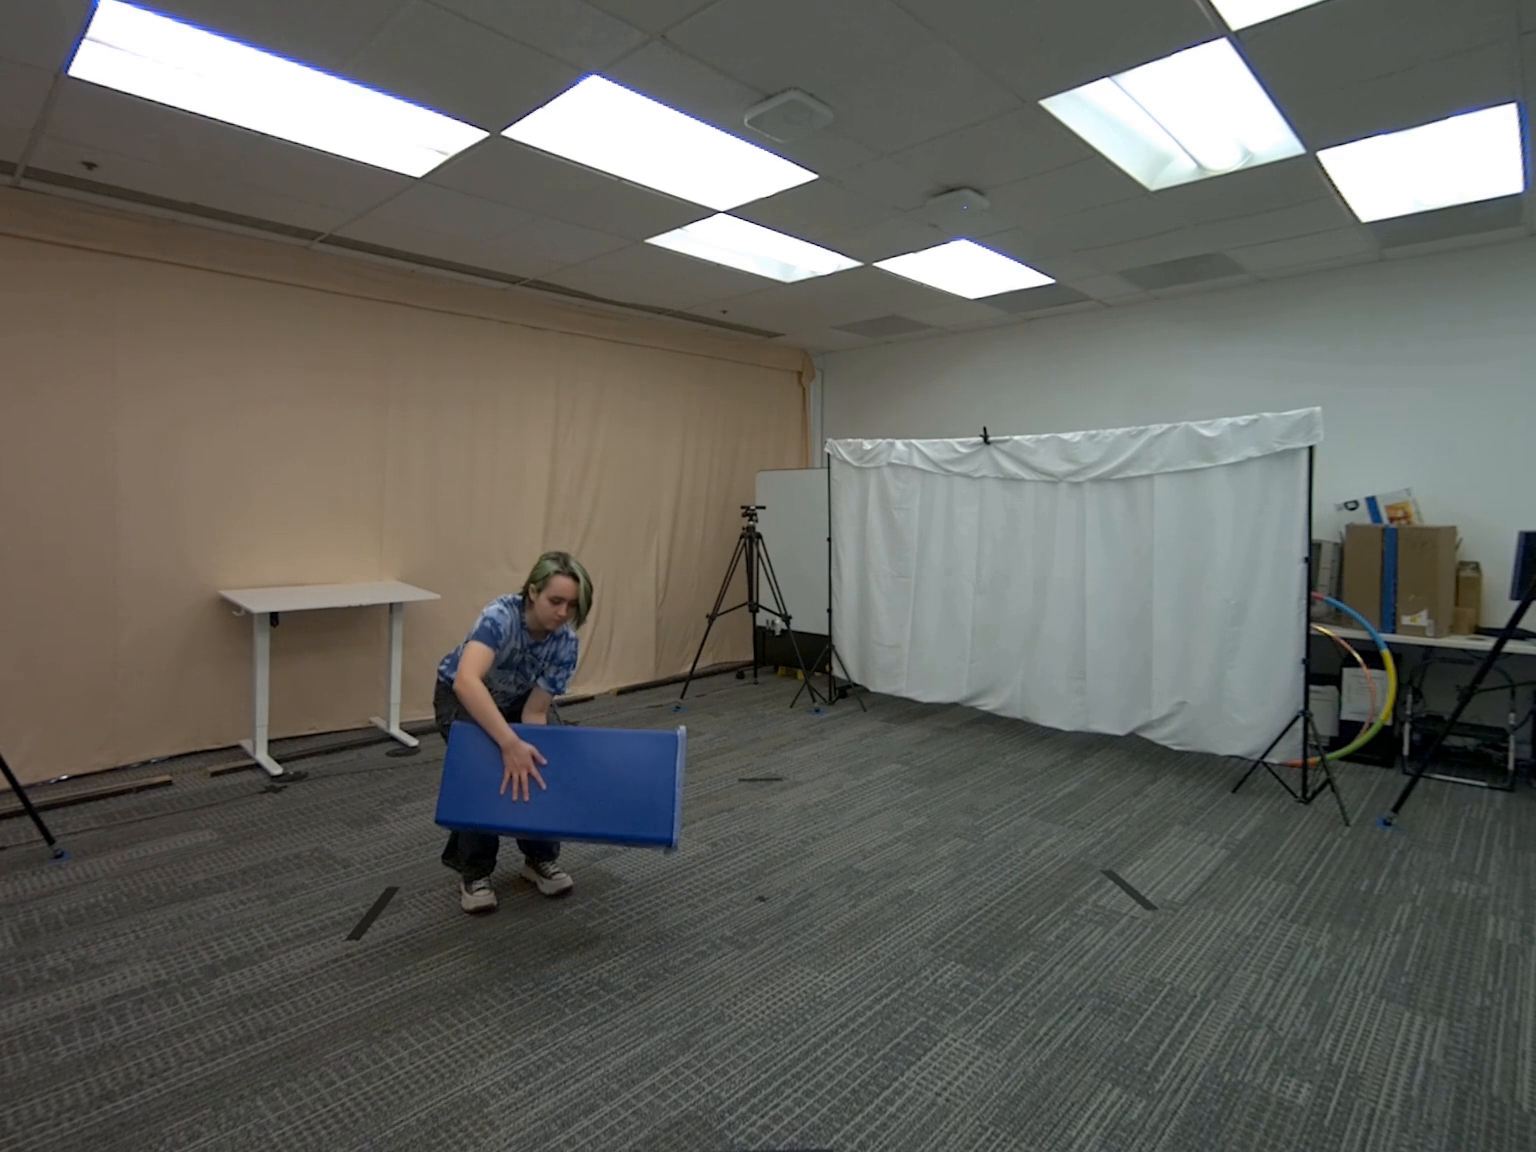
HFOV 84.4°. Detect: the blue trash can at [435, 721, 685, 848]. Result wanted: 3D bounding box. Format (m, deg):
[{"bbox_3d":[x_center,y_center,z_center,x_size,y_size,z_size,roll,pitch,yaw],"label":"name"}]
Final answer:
[{"bbox_3d":[-0.629,0.655,2.652,0.708,0.378,0.377,6,-22,-7],"label":"blue trash can"}]
